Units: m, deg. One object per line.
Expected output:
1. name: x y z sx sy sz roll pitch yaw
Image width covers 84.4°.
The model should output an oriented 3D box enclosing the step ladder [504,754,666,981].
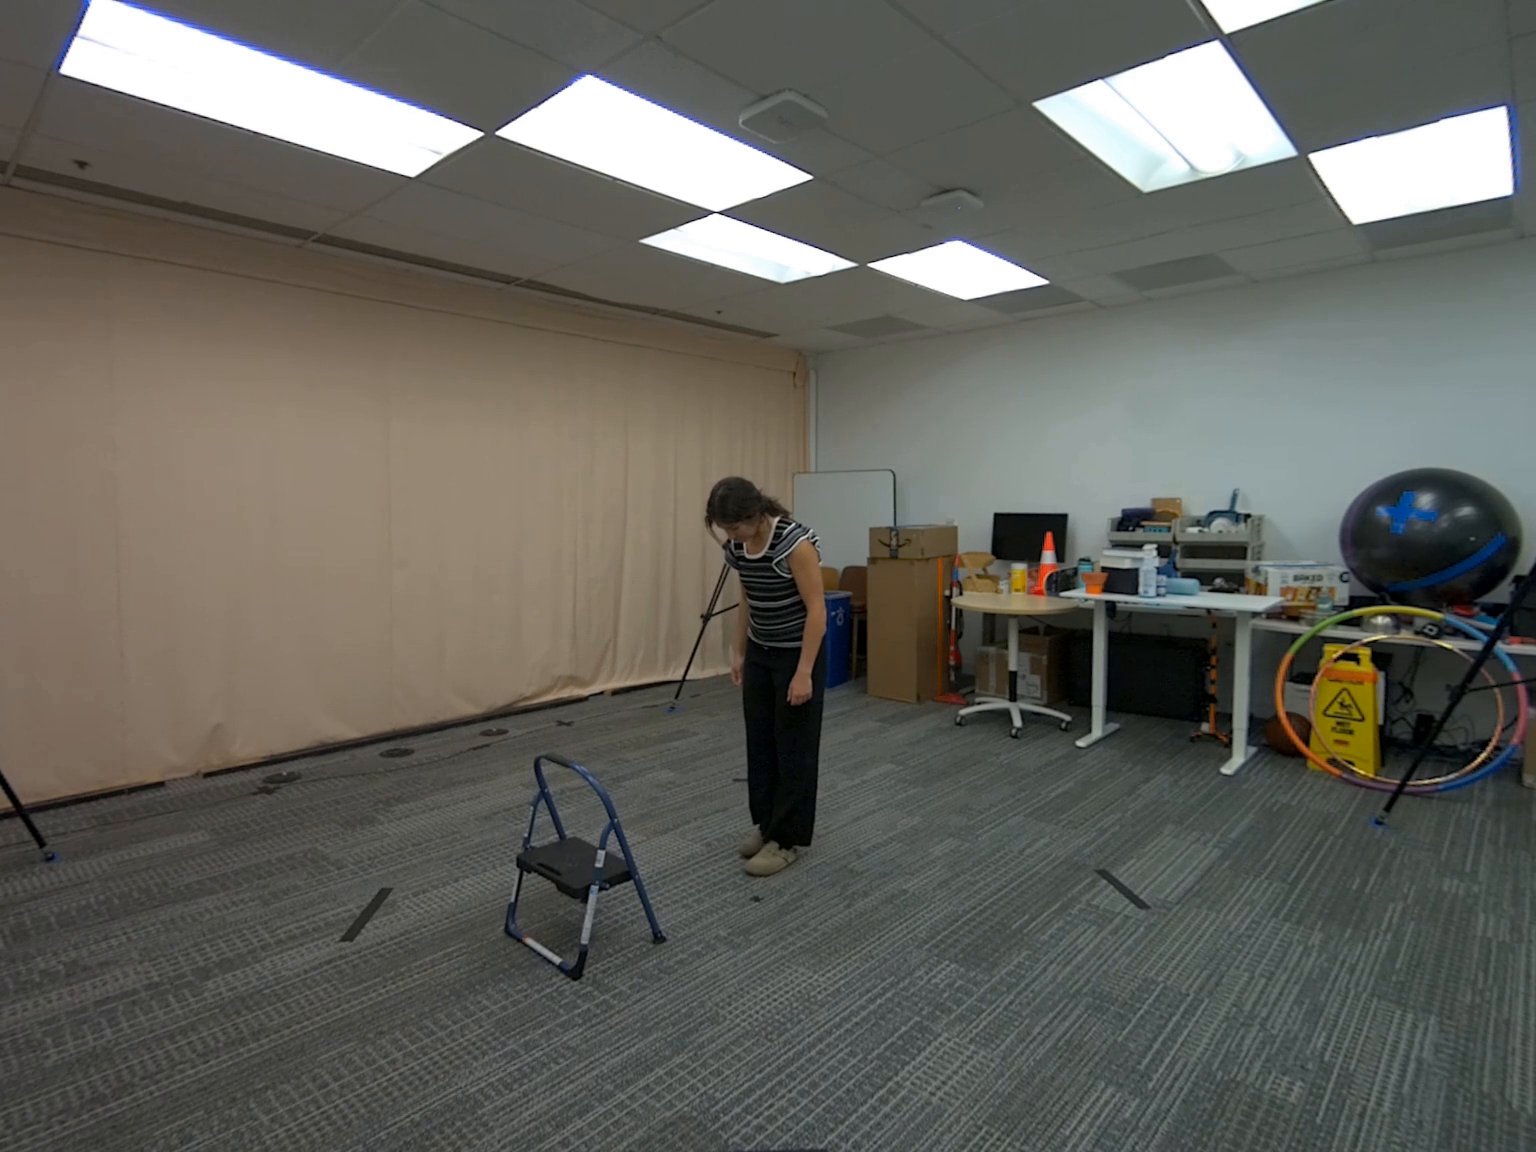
1. step ladder: -0.601 0.871 2.716 0.445 0.605 0.338 2 4 43
